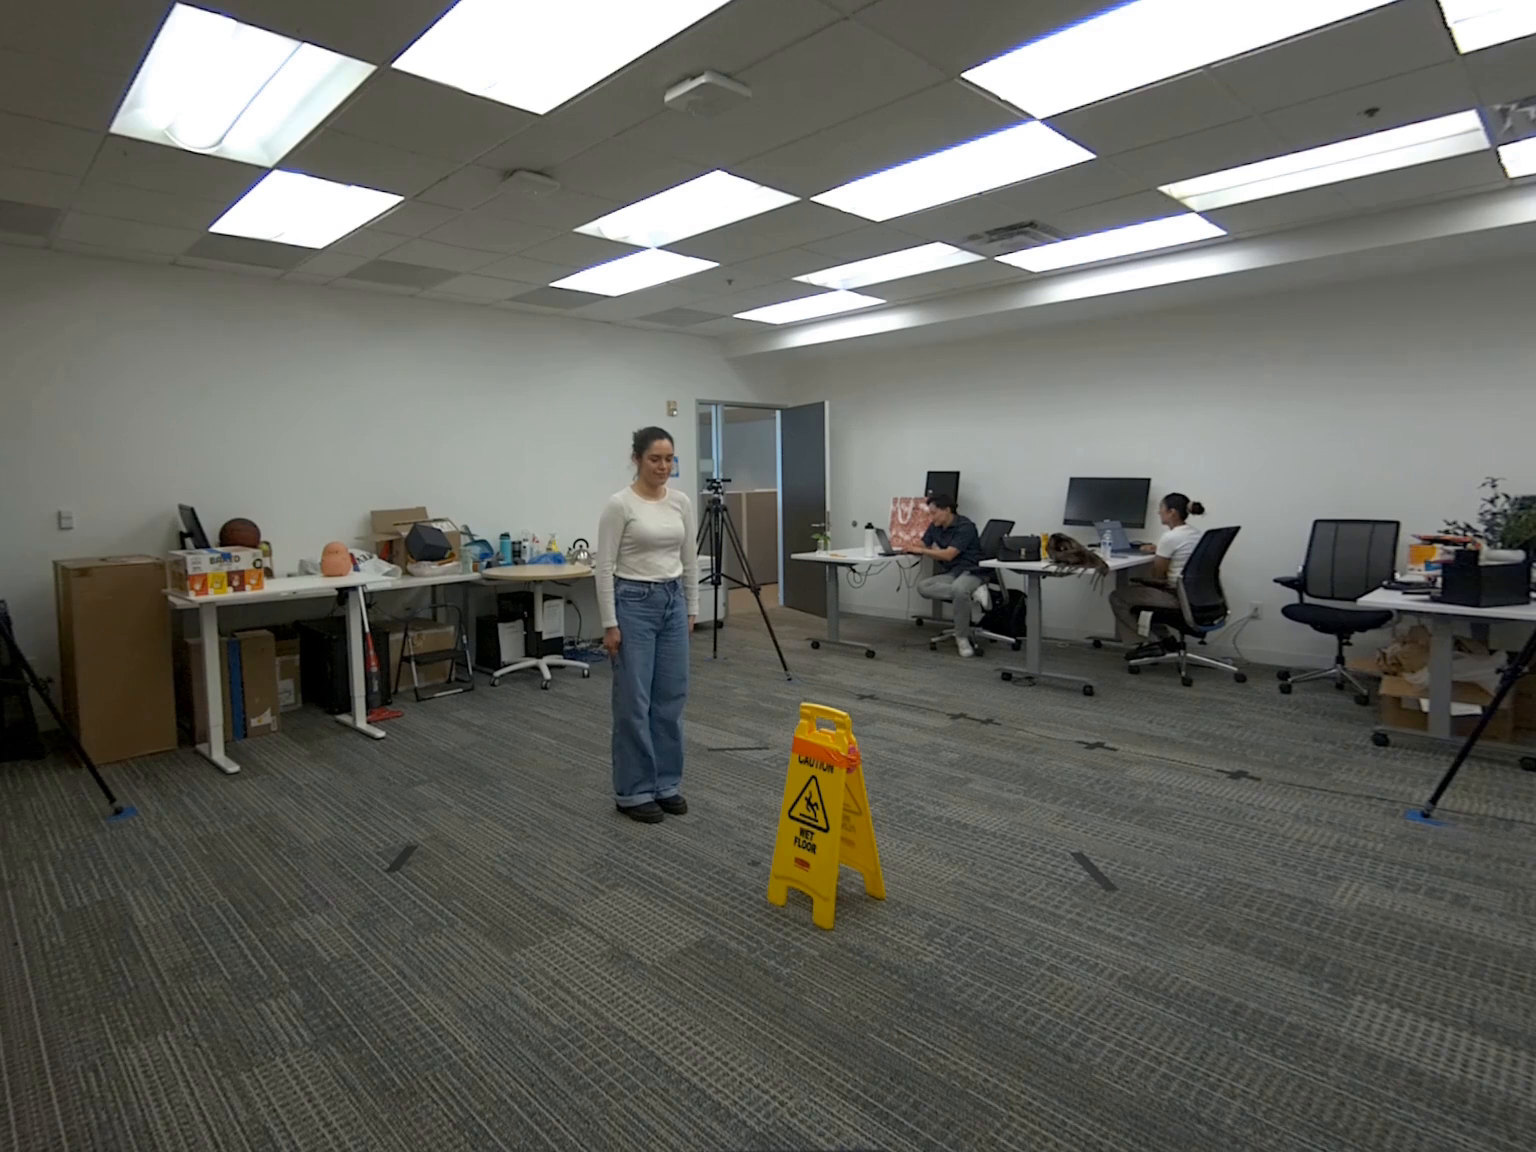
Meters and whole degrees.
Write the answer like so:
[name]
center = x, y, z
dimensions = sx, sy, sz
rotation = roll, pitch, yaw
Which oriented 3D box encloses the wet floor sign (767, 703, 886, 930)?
[wet floor sign]
center = 0.191, 0.751, 2.805
dimensions = 0.282, 0.644, 0.291
rotation = -5, 5, -44
